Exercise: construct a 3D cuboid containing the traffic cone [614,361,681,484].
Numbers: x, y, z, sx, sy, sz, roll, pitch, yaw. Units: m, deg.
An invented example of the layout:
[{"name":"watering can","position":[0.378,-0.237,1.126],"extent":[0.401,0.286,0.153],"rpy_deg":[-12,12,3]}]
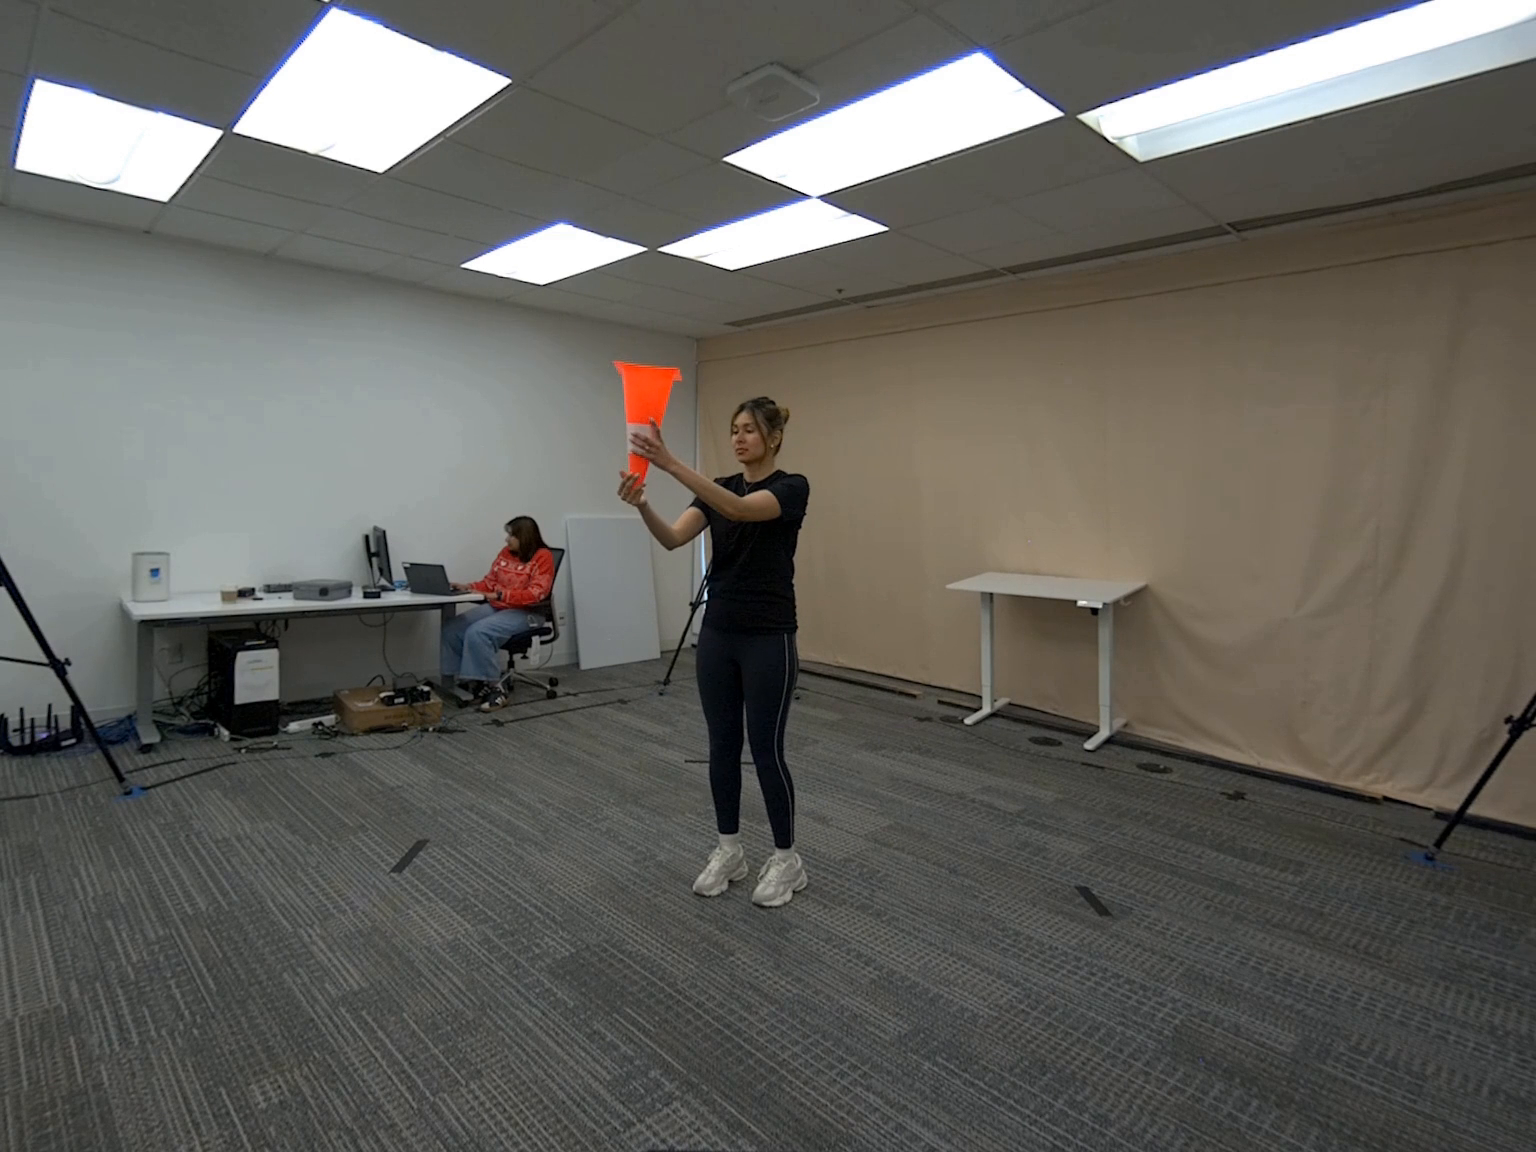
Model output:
[{"name":"traffic cone","position":[-0.389,-0.437,2.565],"extent":[0.203,0.383,0.205],"rpy_deg":[3,2,-3]}]
